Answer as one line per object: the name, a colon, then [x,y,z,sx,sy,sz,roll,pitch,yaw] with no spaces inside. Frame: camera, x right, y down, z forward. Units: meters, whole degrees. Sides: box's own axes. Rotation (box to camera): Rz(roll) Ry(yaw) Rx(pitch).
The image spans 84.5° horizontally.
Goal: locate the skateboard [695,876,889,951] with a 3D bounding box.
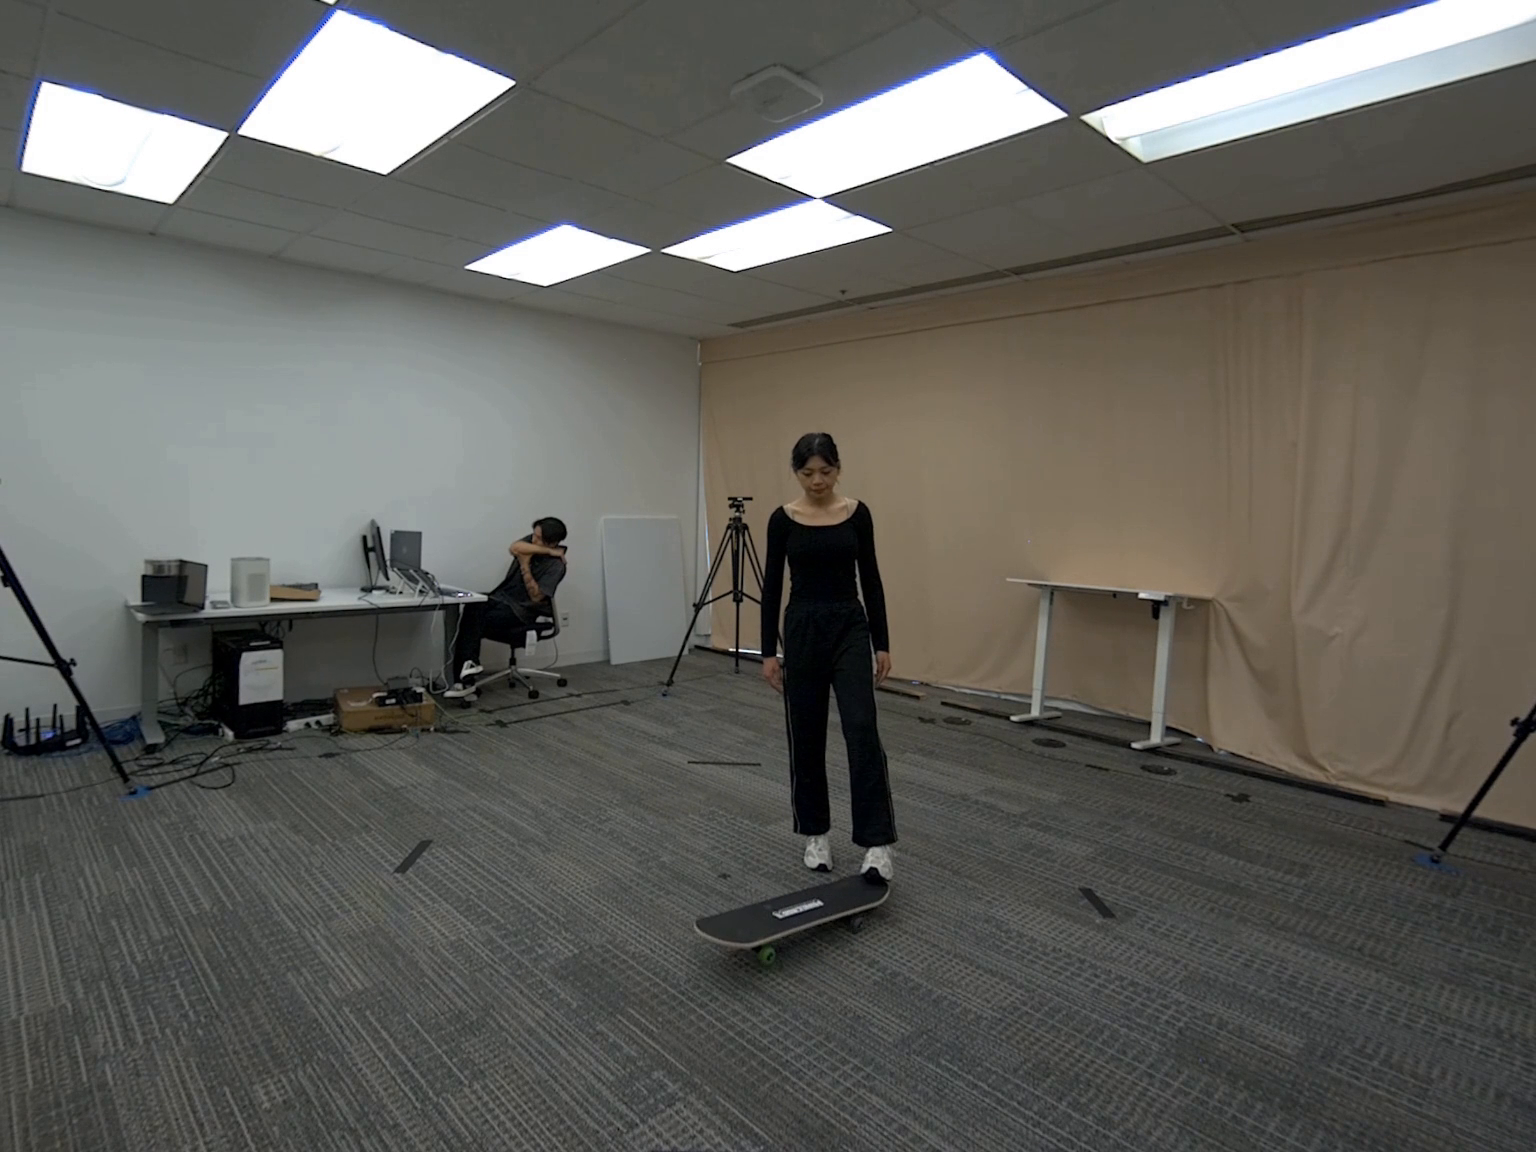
skateboard: [0.099,1.086,2.651,0.766,0.110,0.198,2,3,-41]
